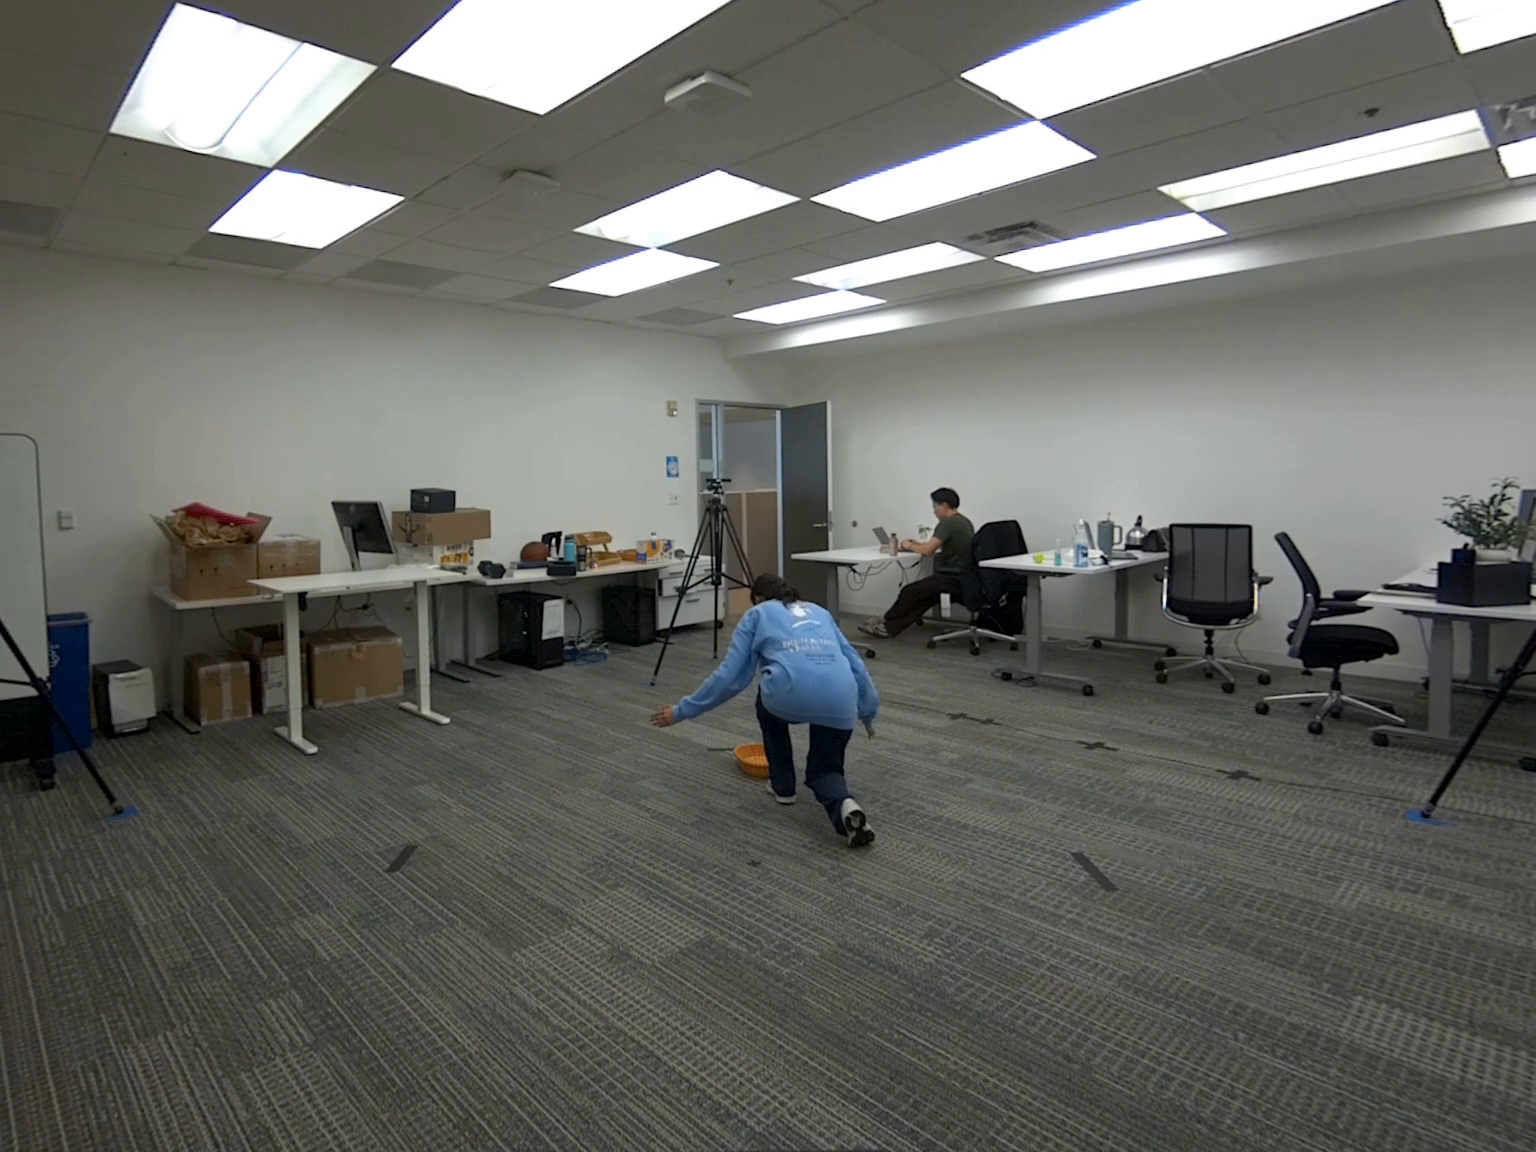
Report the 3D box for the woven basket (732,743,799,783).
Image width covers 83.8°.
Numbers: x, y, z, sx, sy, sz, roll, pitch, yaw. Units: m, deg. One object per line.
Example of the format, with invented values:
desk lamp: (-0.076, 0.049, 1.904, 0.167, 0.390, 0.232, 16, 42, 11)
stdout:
woven basket: (-0.021, 0.893, 4.132, 0.250, 0.073, 0.355, -1, 5, -11)
